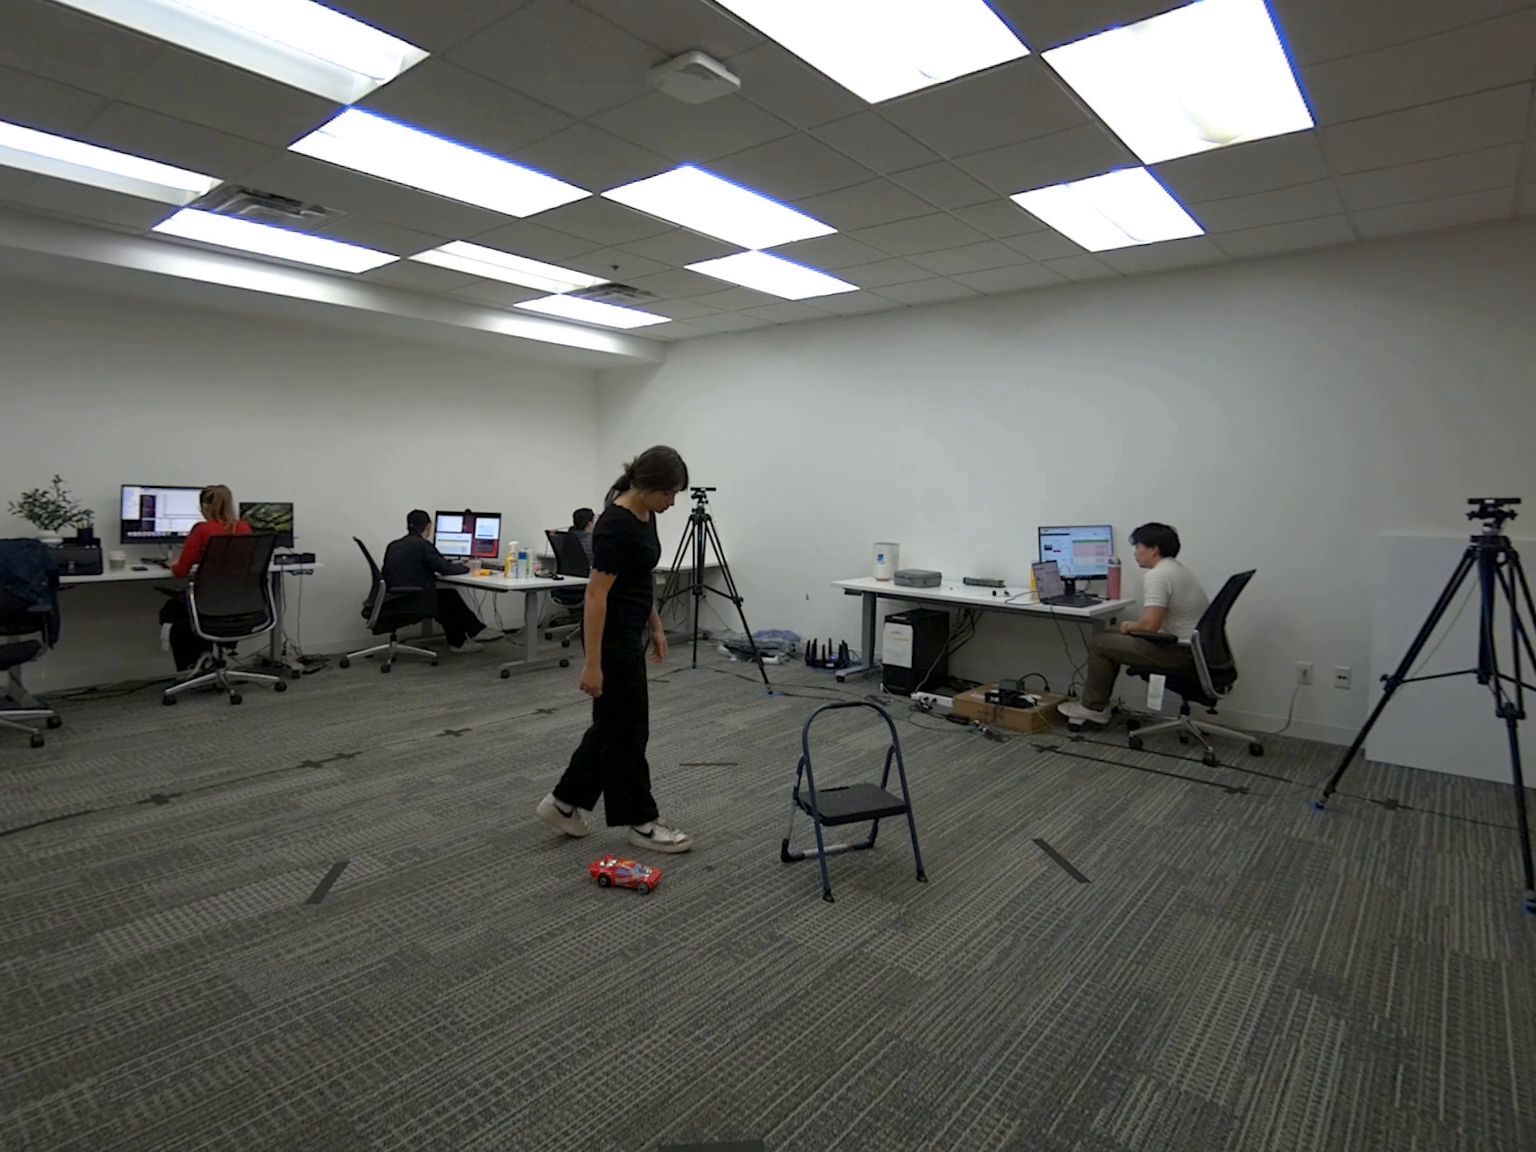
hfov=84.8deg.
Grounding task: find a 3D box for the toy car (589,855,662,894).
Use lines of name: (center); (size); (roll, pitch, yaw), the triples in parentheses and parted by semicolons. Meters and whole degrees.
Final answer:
toy car: (-0.517, 1.046, 2.976); (0.259, 0.082, 0.129); (12, 11, 15)
